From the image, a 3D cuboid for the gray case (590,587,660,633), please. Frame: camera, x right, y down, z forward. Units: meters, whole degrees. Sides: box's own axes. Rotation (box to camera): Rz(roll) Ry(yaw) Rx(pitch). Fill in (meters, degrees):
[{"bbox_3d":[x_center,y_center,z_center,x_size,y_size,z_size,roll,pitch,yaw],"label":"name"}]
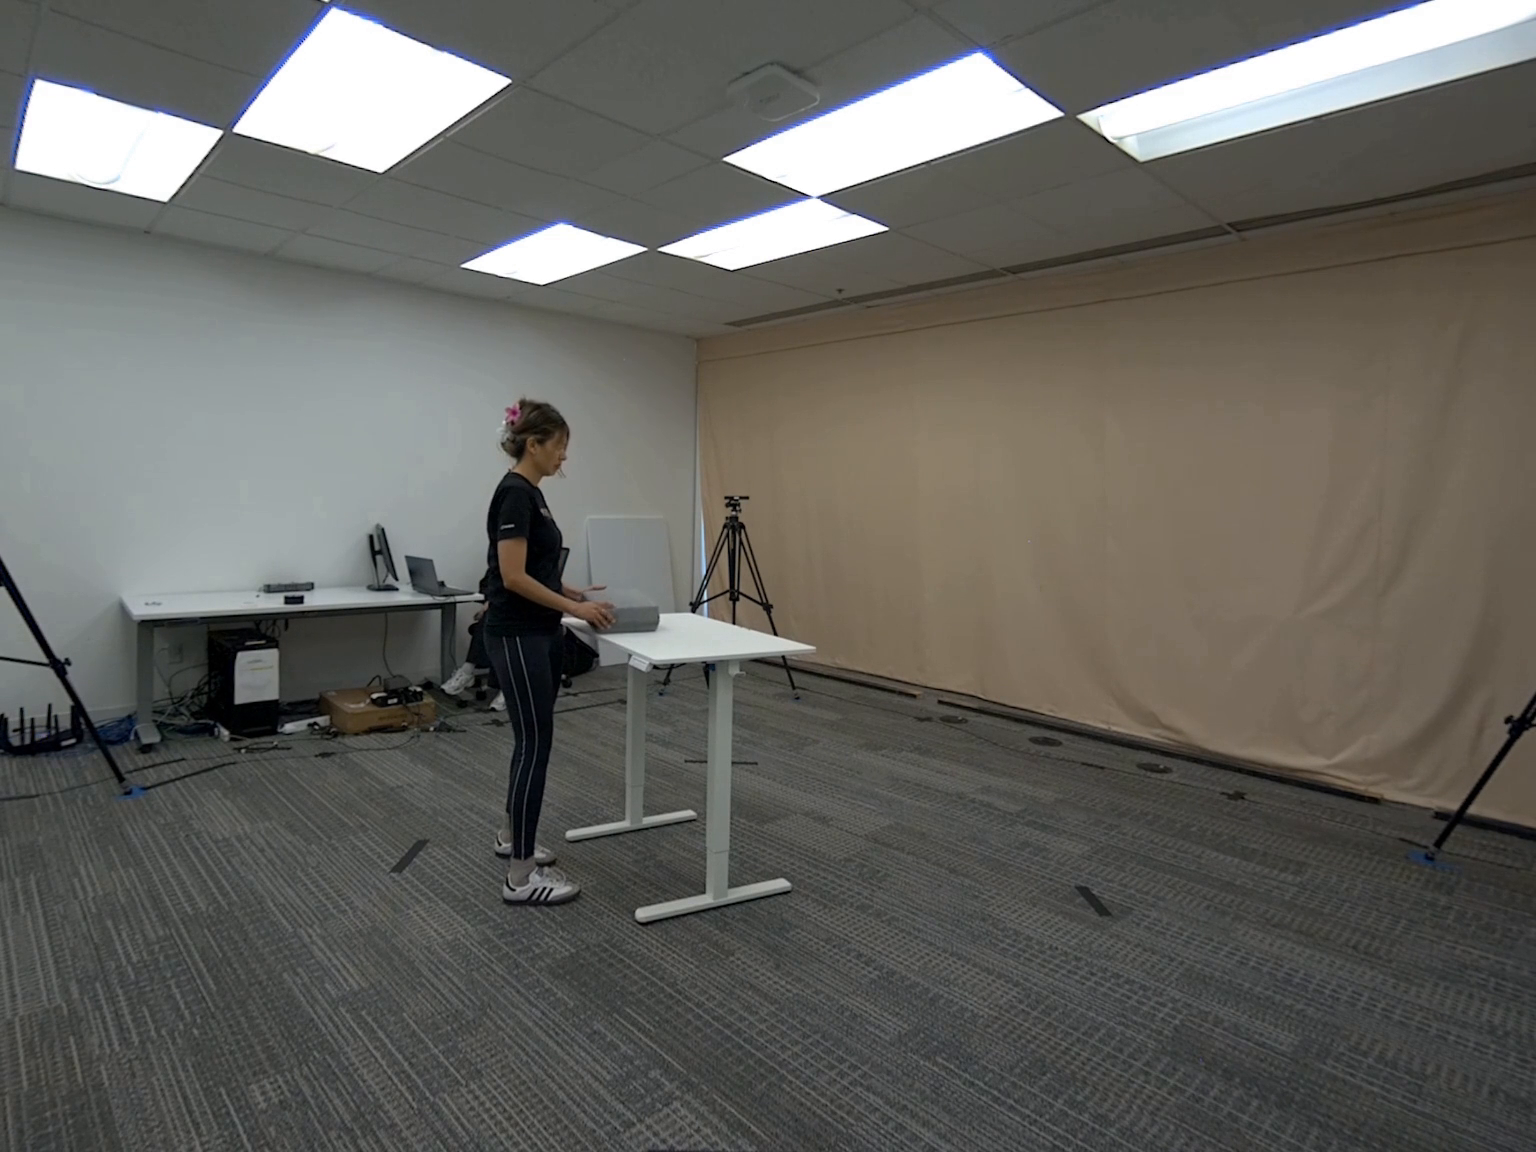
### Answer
[{"bbox_3d":[-0.575,0.133,3.203,0.256,0.103,0.264,-2,17,-27],"label":"gray case"}]
